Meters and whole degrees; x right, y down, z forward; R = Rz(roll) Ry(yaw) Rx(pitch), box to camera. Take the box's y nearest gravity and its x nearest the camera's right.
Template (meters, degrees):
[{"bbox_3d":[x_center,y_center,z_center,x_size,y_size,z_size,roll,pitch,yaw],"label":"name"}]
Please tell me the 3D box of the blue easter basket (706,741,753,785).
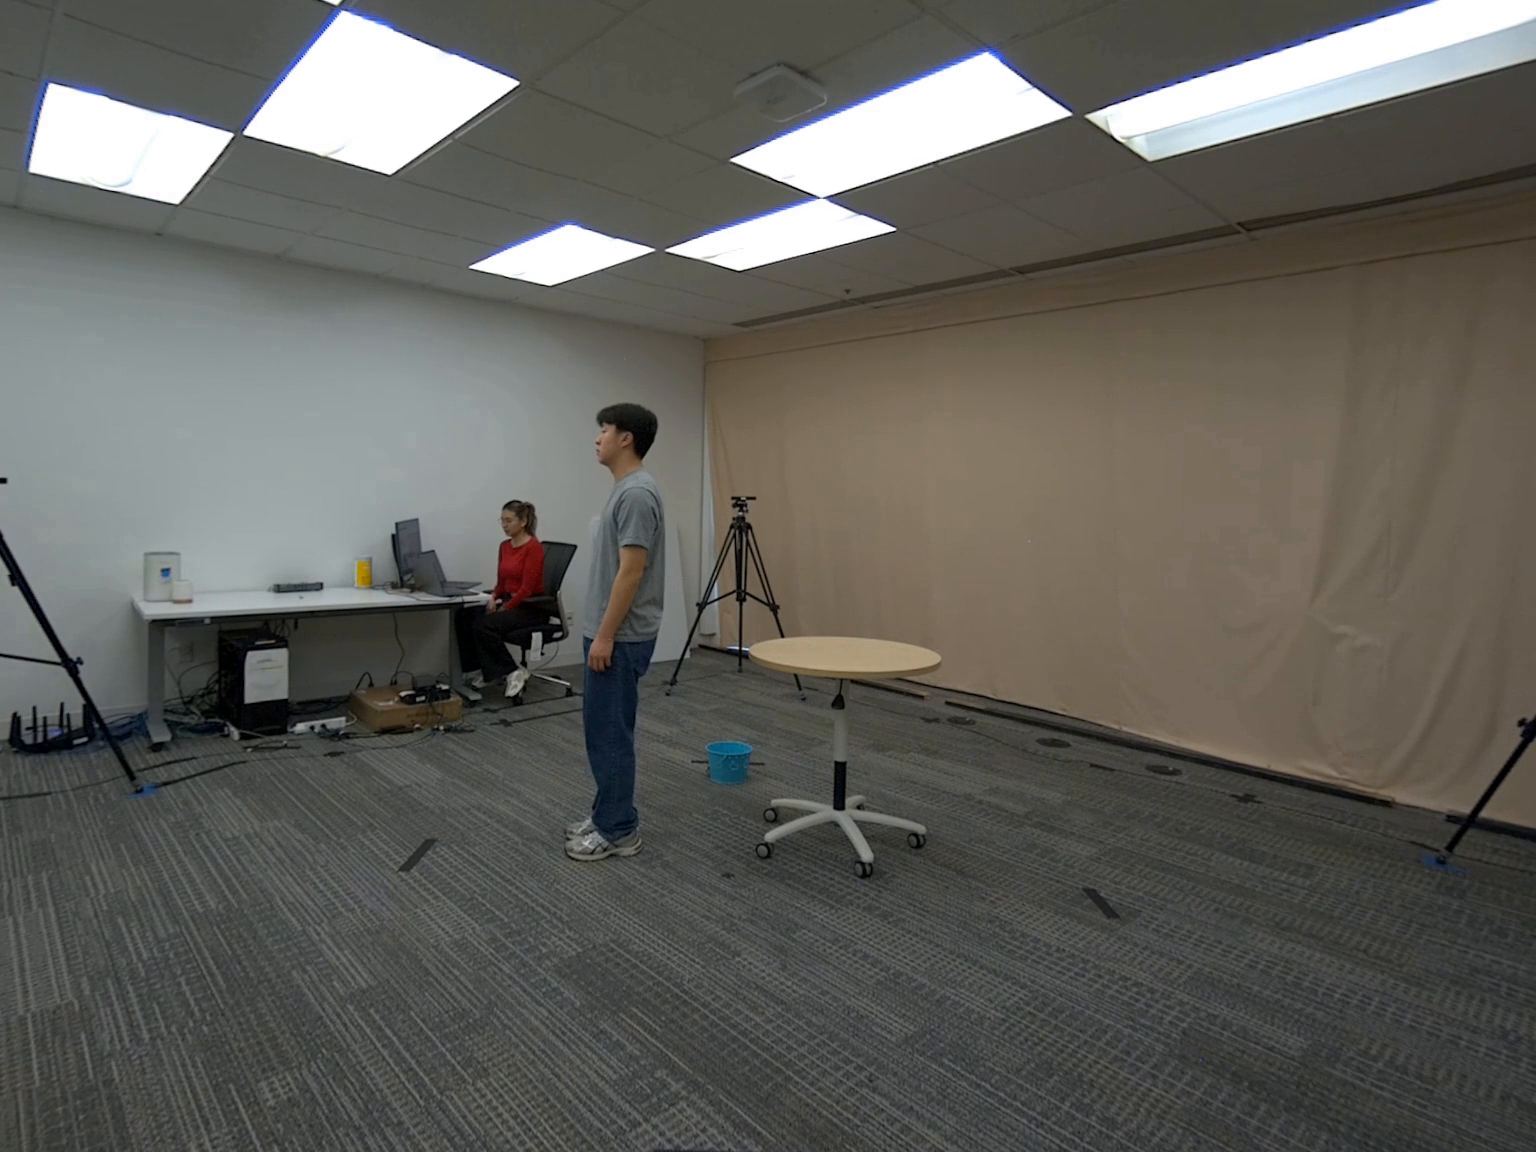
[{"bbox_3d":[-0.207,0.931,4.217,0.243,0.155,0.244,2,5,-2],"label":"blue easter basket"}]
